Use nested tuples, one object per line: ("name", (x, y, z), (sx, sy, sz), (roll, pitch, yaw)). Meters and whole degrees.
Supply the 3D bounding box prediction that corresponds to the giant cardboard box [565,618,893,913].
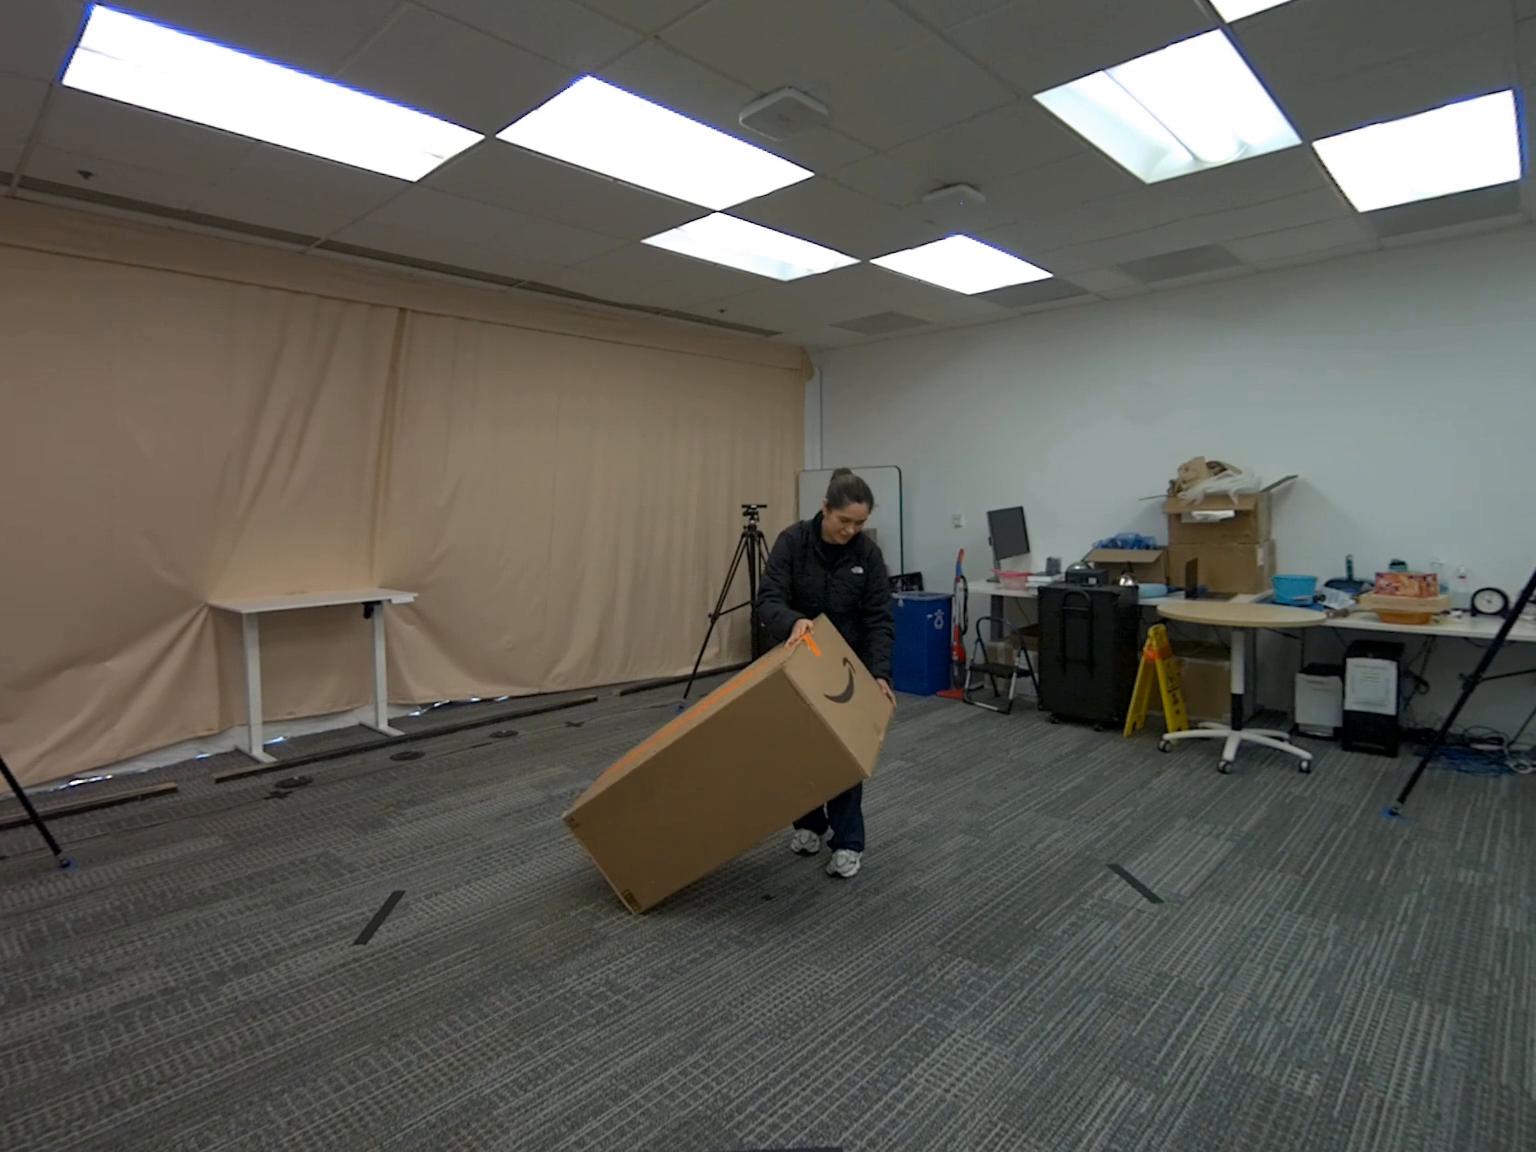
("giant cardboard box", (-0.122, 0.648, 2.955), (1.035, 0.427, 0.571), (-37, -1, 22))
